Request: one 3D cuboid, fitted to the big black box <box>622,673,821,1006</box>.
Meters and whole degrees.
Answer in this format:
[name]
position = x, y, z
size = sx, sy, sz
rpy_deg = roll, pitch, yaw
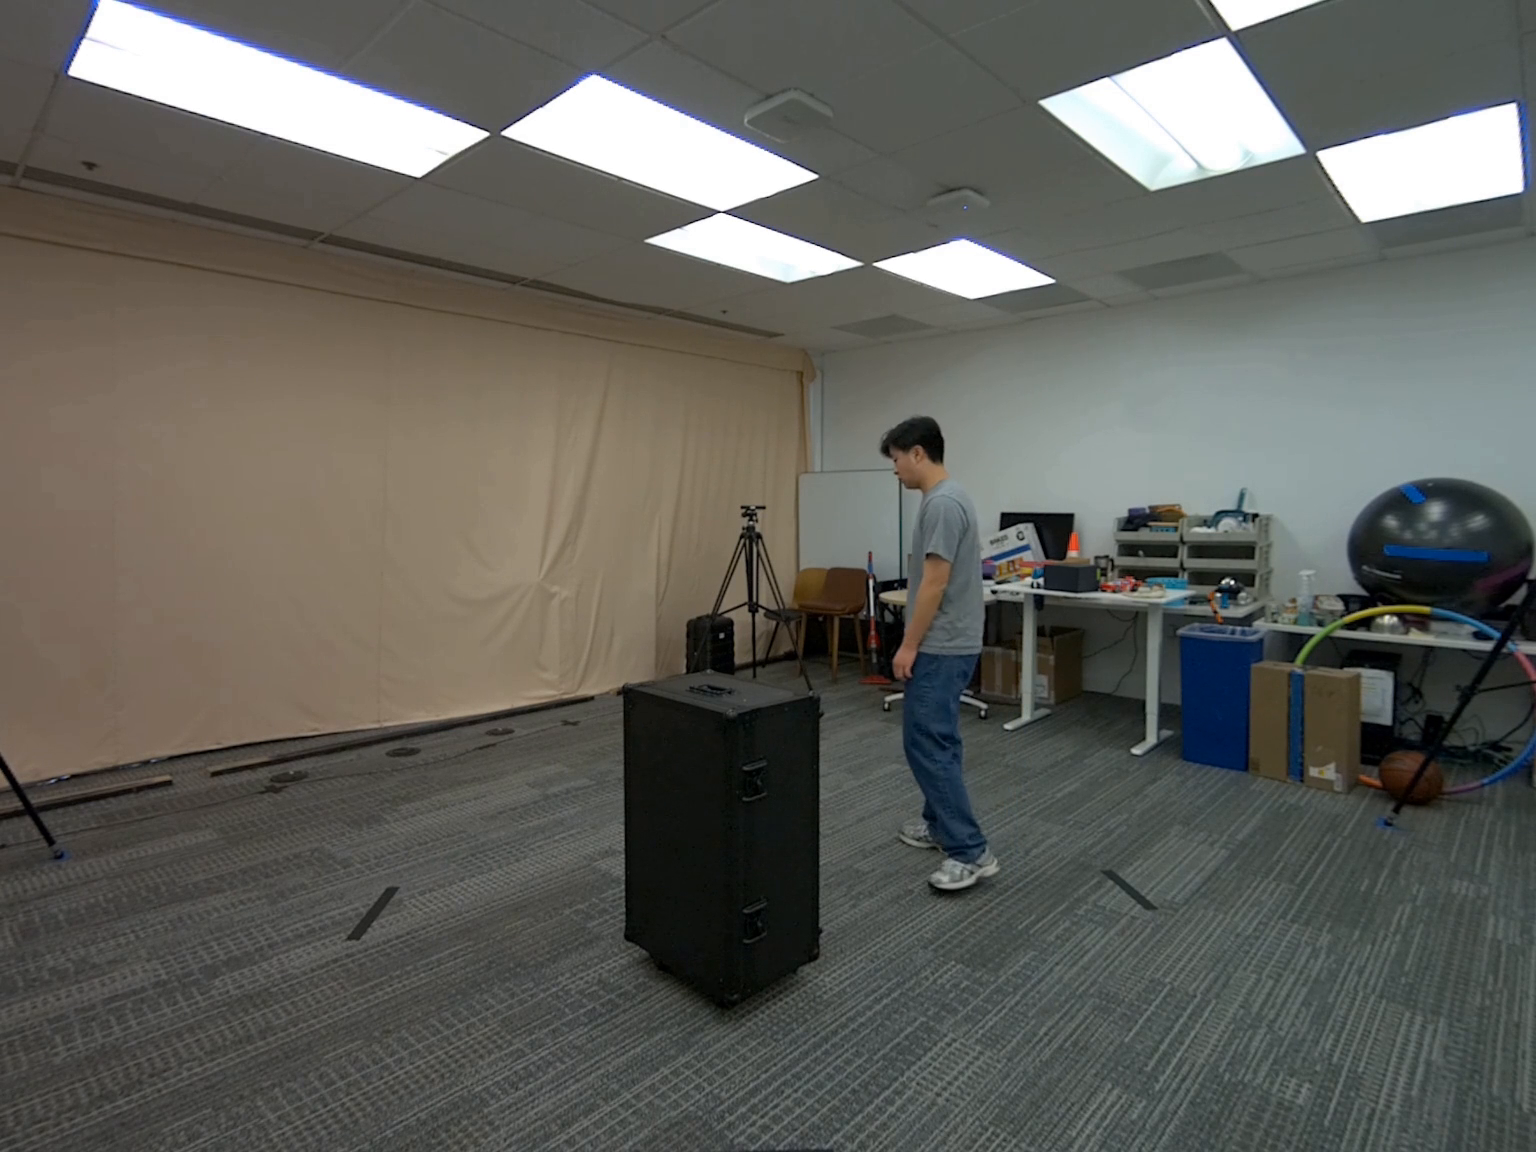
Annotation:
[big black box]
position = -0.137, 0.758, 2.505
size = 0.384, 0.860, 0.539
rpy_deg = -3, 4, -44
